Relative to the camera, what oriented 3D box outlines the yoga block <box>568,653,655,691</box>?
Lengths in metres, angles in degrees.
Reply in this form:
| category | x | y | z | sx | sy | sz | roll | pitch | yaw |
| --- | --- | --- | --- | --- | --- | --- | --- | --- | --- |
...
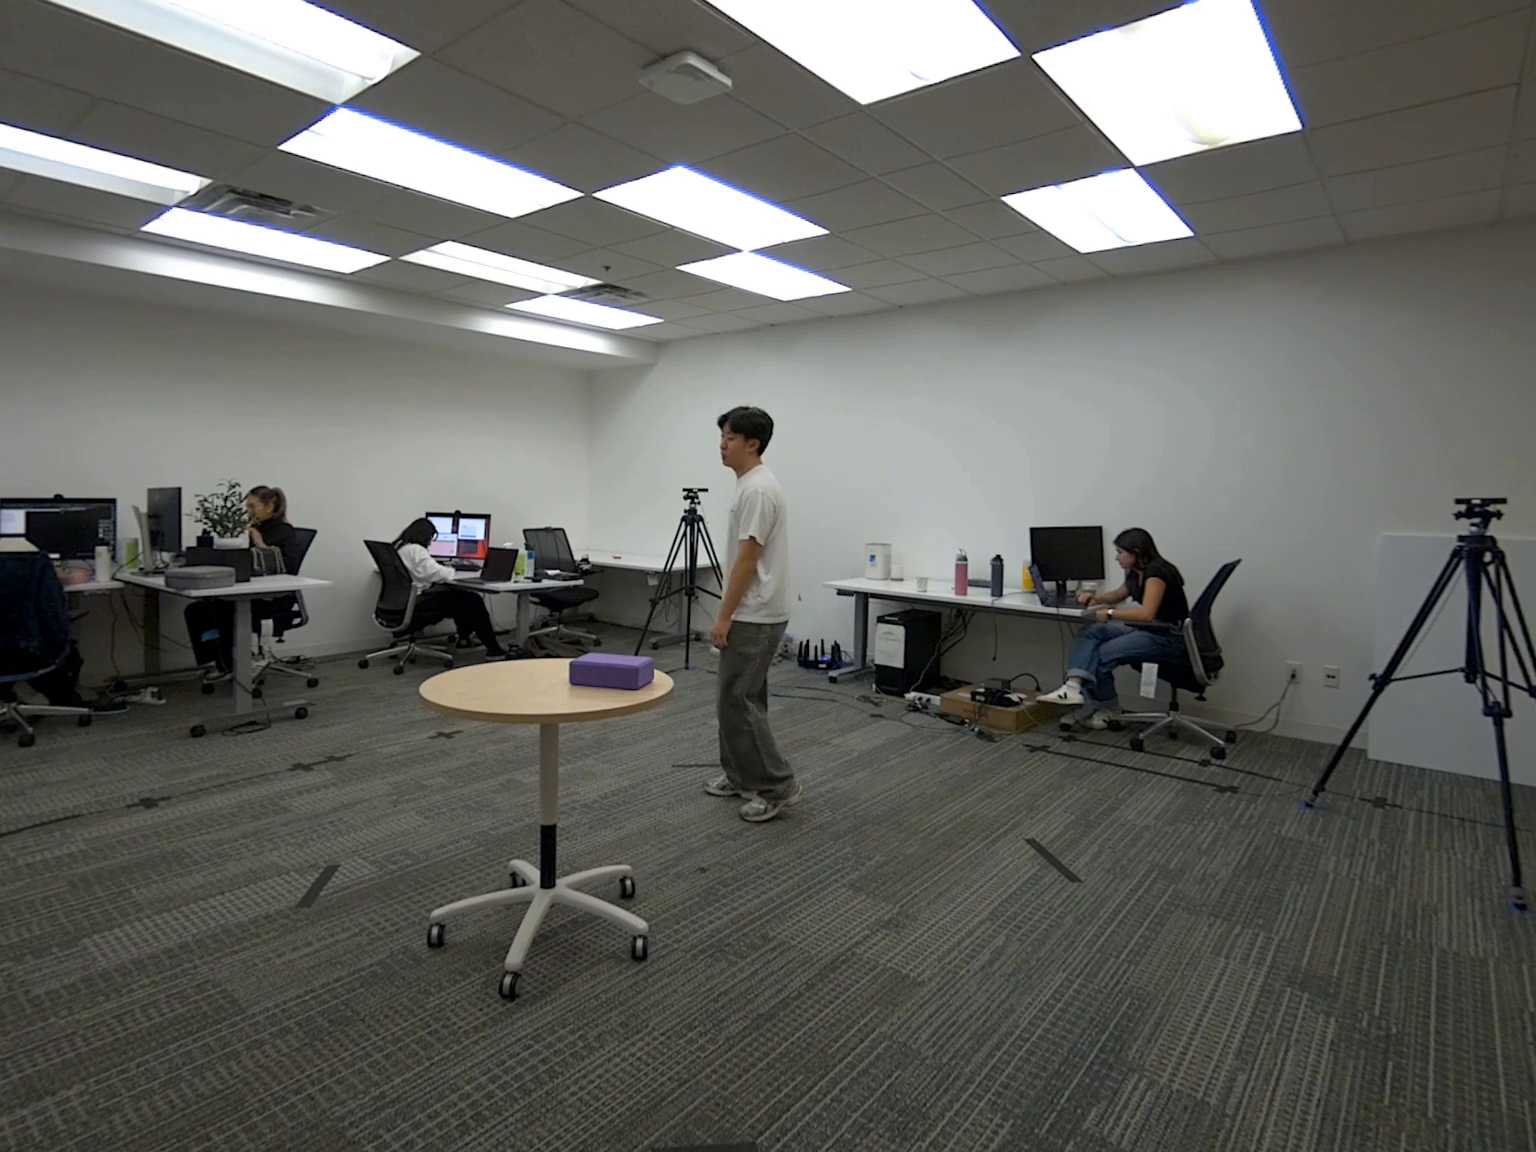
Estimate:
| category | x | y | z | sx | sy | sz | roll | pitch | yaw |
| --- | --- | --- | --- | --- | --- | --- | --- | --- | --- |
| yoga block | -0.488 | 0.288 | 2.635 | 0.233 | 0.076 | 0.147 | 2 | 5 | 14 |
